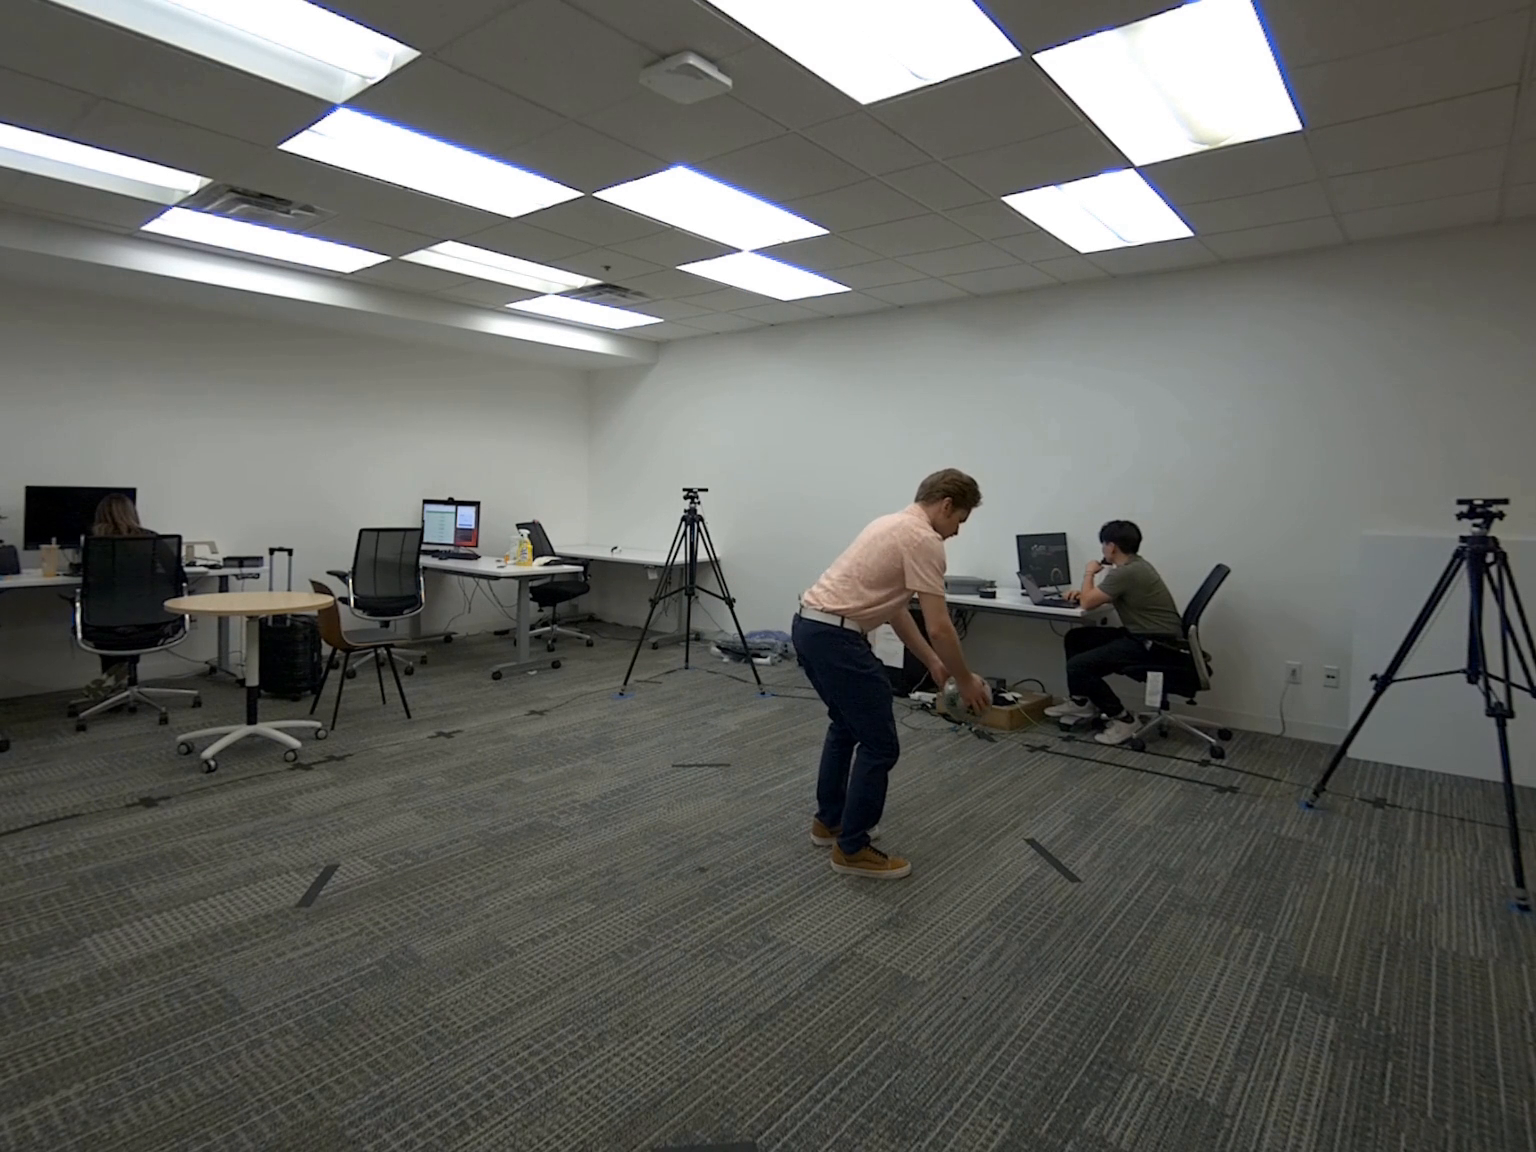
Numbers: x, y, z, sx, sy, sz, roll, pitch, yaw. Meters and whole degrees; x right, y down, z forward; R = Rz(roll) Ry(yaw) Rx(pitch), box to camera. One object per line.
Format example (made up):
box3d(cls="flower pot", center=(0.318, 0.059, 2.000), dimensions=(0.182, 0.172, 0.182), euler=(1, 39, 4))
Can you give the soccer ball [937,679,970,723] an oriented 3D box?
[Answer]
box3d(cls="soccer ball", center=(0.740, 0.469, 3.227), dimensions=(0.187, 0.187, 0.188), euler=(1, 4, -2))
